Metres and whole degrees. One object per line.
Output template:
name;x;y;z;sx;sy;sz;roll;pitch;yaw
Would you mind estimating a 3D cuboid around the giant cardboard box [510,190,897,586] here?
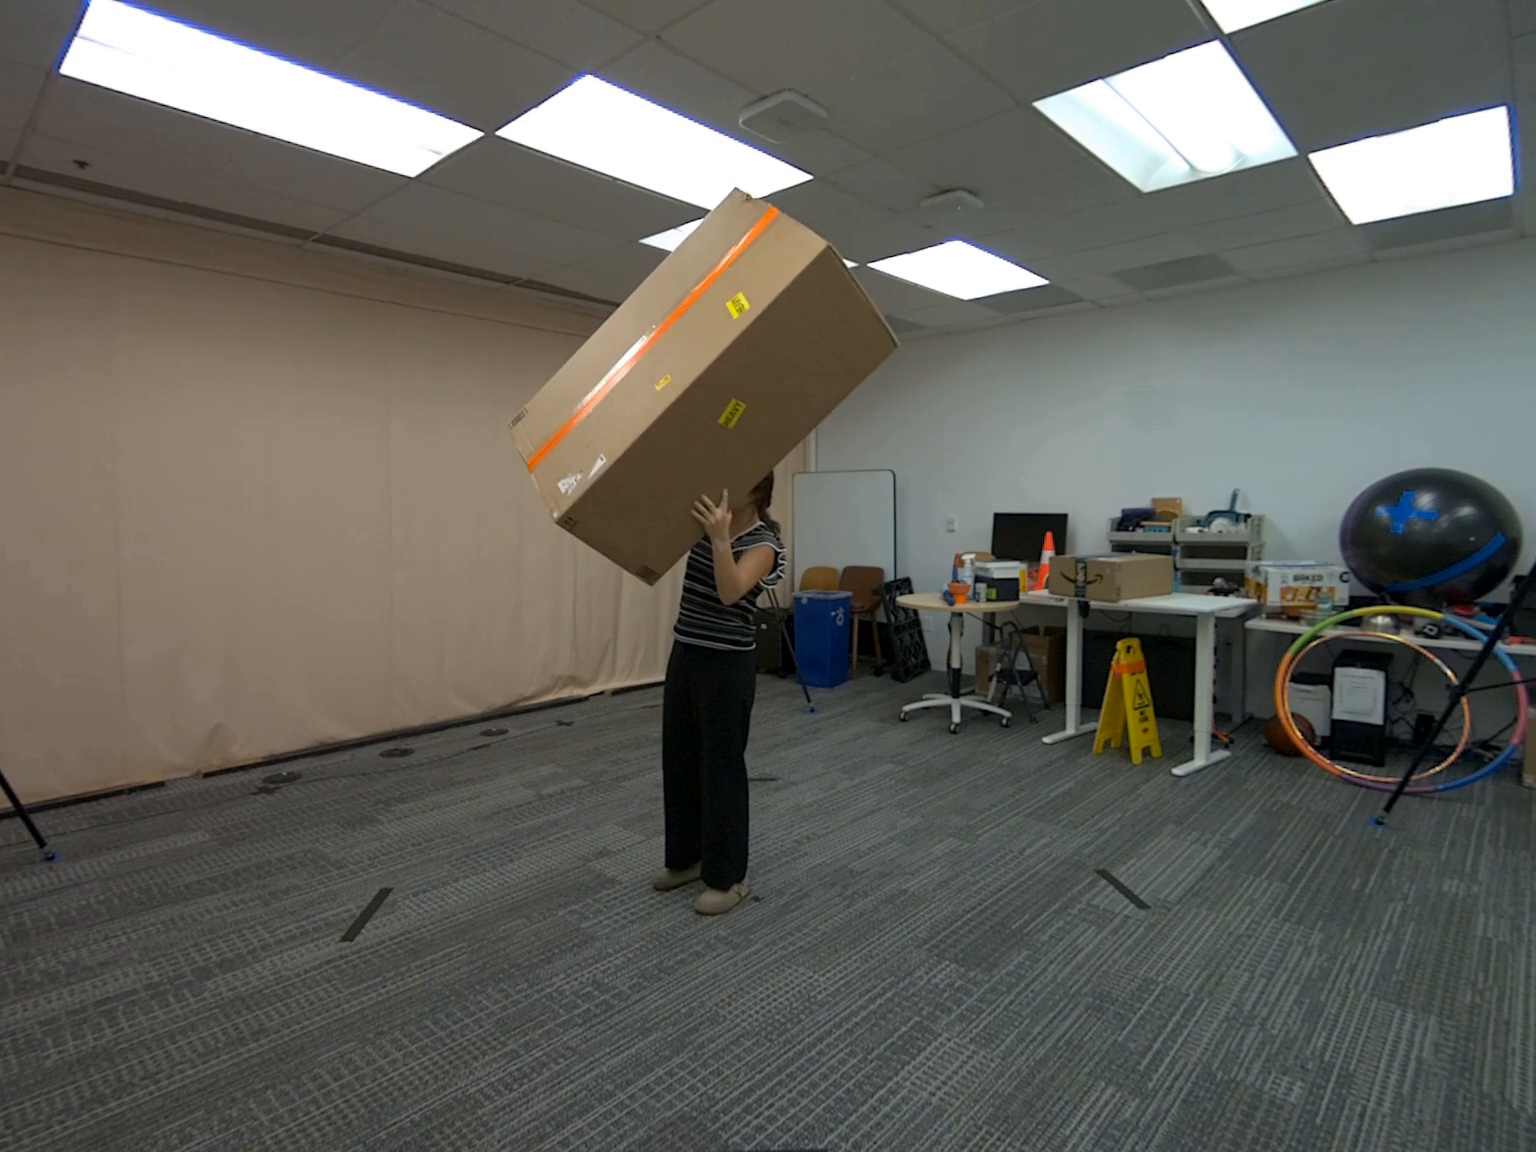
giant cardboard box;-0.231;-0.570;2.546;0.411;1.029;0.597;38;11;-45
